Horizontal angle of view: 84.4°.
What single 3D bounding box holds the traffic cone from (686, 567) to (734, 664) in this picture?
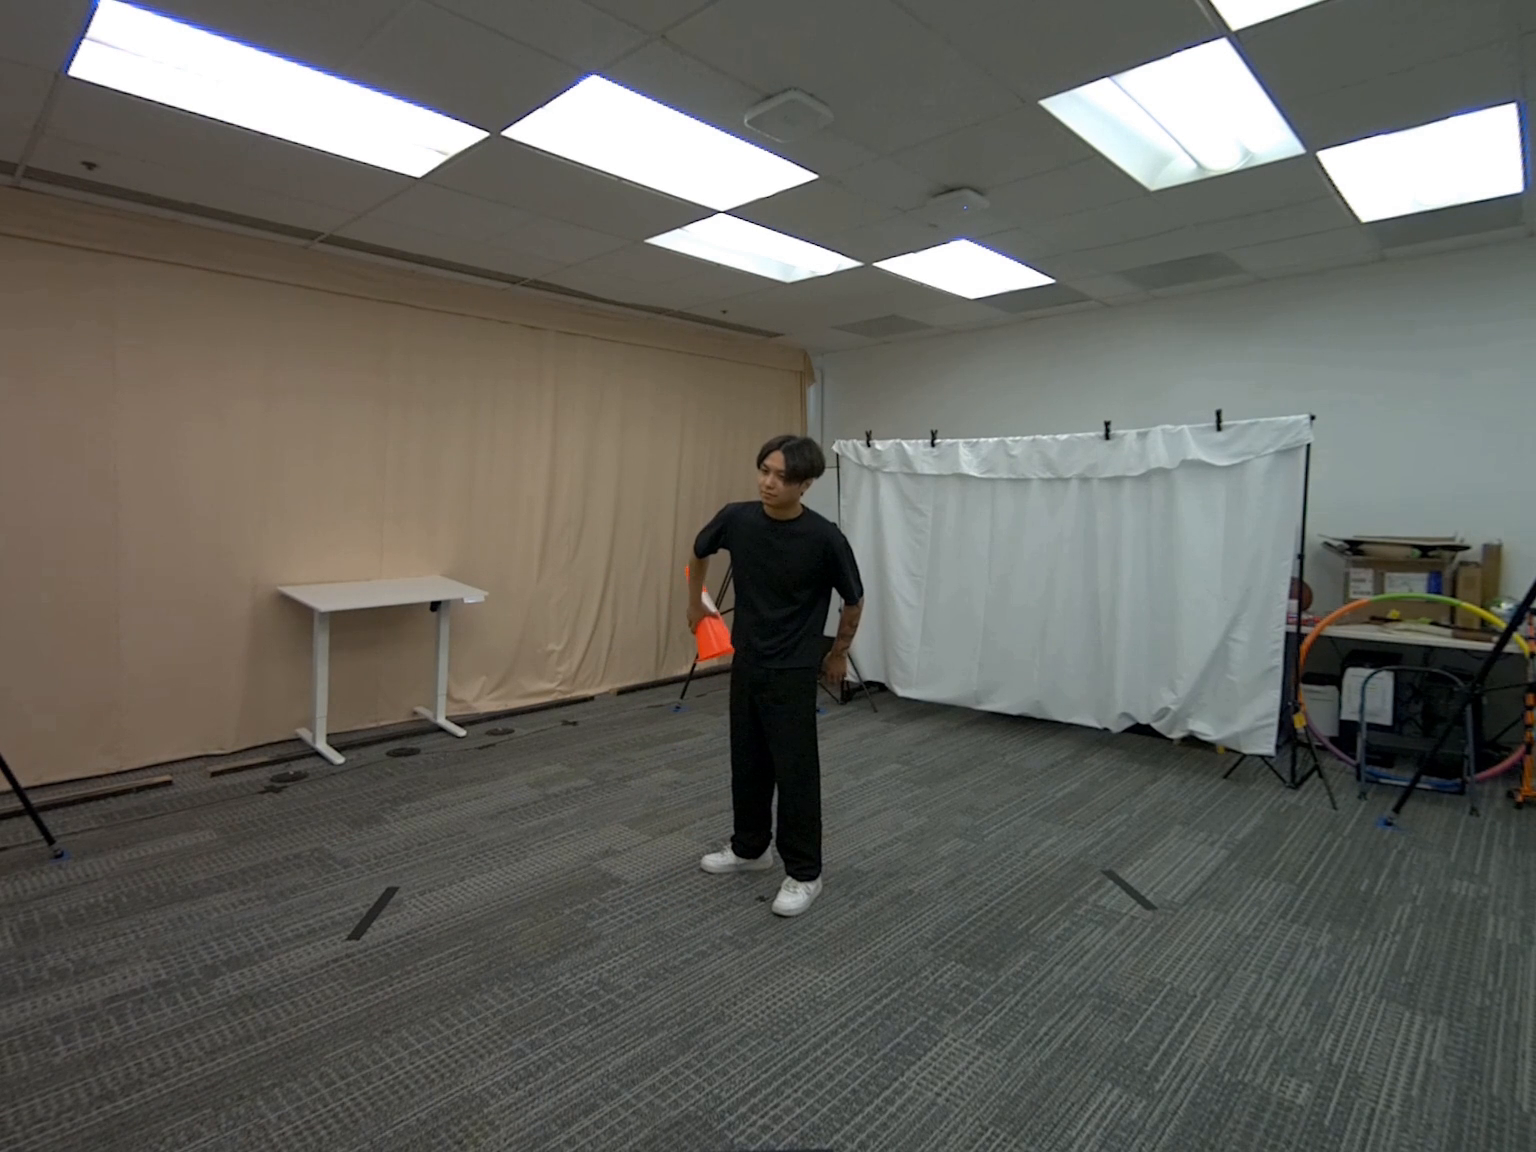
[{"bbox_3d":[-0.258,0.143,3.417,0.204,0.388,0.202,-18,-11,-6],"label":"traffic cone"}]
